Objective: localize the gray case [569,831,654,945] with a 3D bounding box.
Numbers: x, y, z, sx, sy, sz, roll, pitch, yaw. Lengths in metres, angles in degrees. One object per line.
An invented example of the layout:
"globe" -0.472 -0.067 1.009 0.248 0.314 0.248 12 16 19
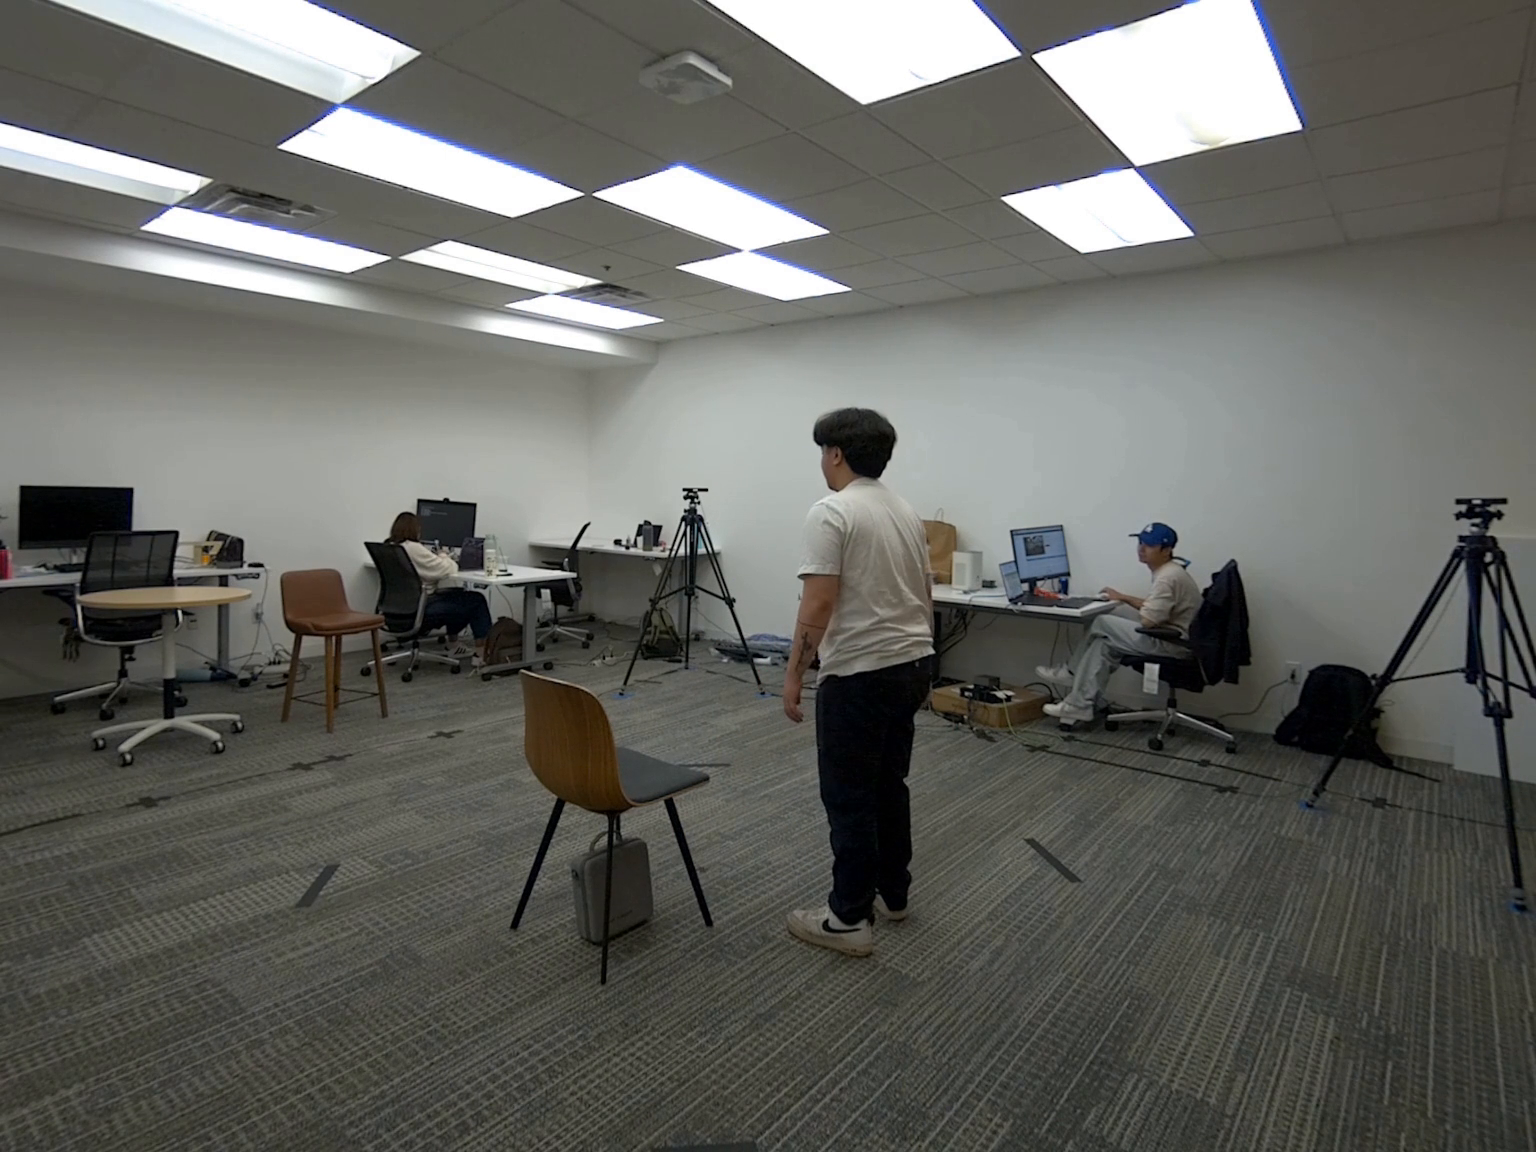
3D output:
"gray case" -0.498 0.979 2.678 0.107 0.262 0.249 -9 -4 44
